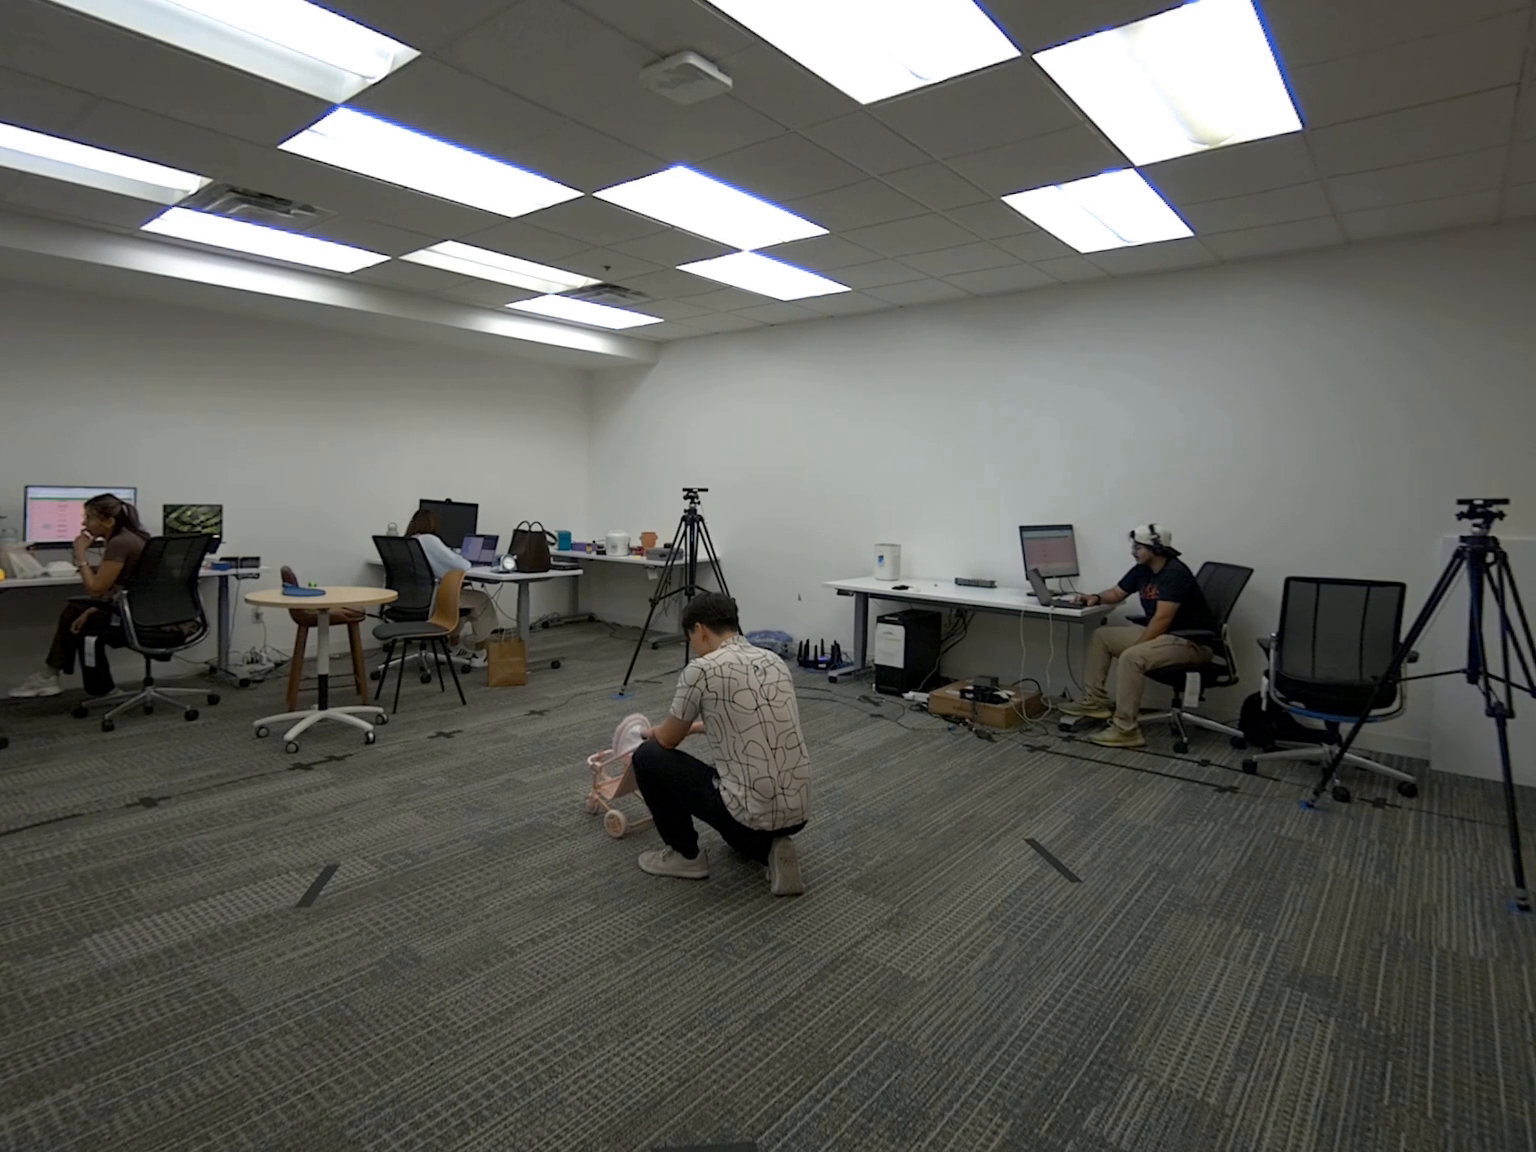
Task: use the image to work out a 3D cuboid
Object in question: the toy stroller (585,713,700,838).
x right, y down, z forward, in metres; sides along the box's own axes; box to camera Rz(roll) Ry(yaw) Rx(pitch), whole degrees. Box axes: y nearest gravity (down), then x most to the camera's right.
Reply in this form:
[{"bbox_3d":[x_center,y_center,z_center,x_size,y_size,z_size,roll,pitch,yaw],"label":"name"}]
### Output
[{"bbox_3d":[-0.595,0.799,3.508,0.355,0.530,0.273,25,16,36],"label":"toy stroller"}]
